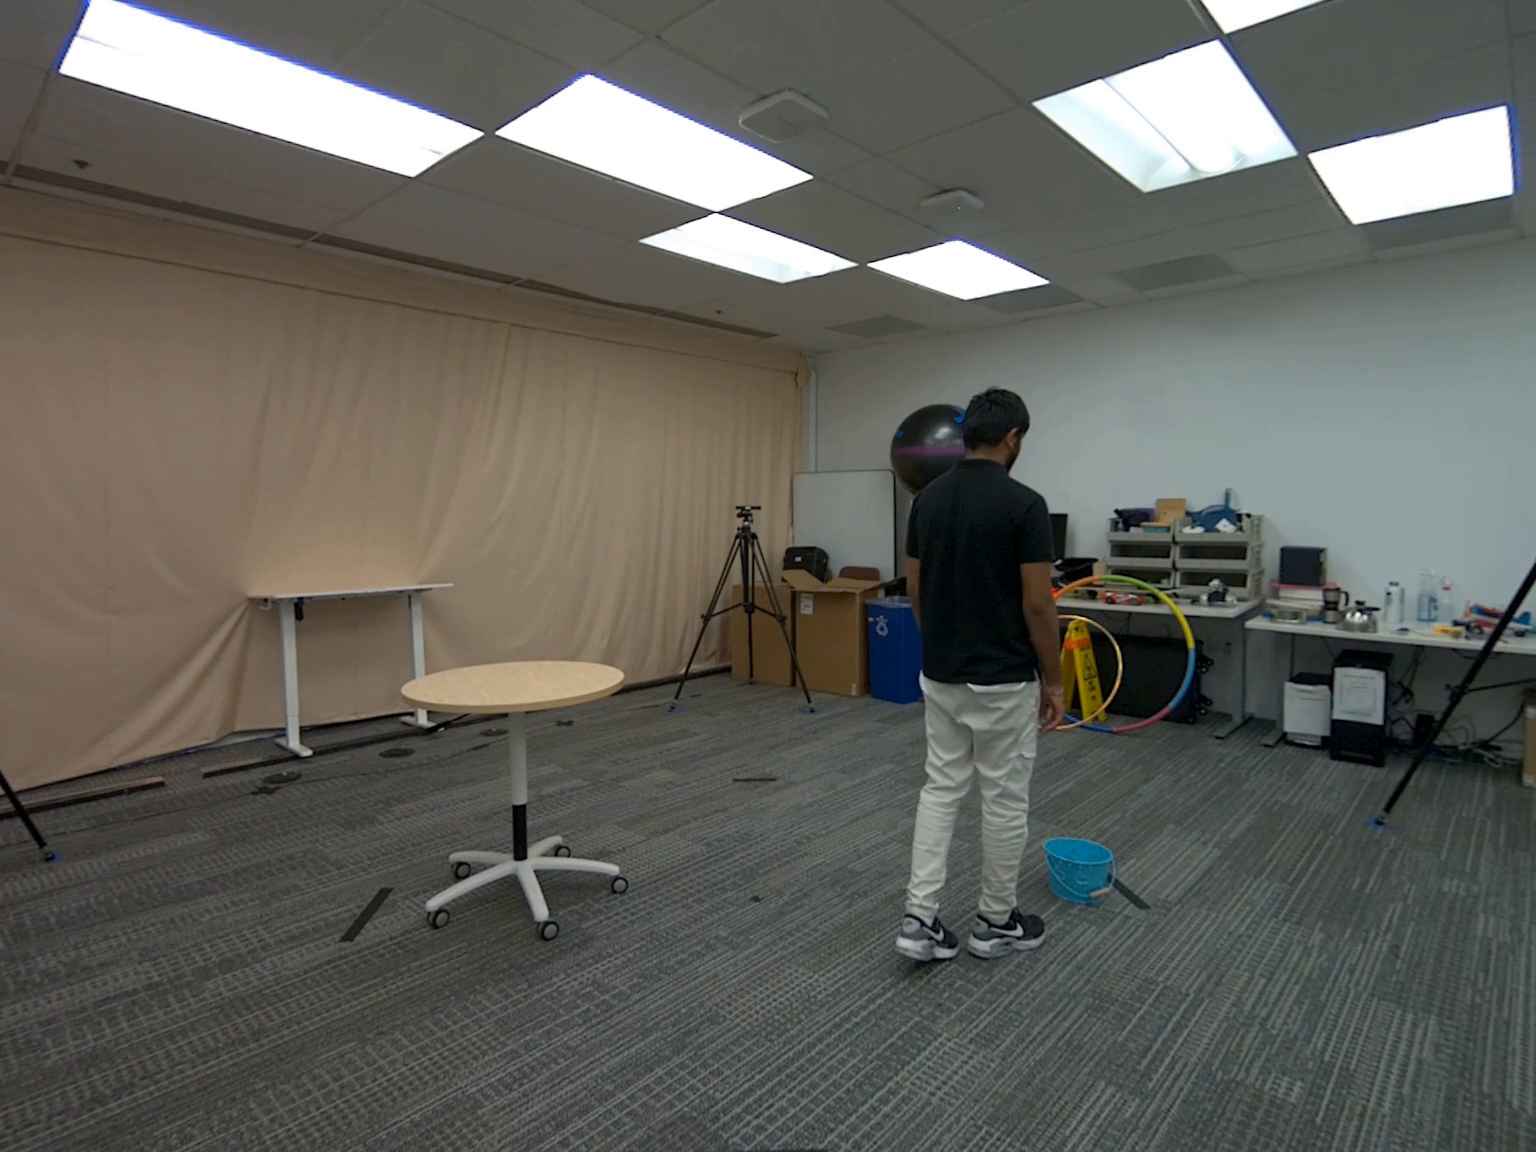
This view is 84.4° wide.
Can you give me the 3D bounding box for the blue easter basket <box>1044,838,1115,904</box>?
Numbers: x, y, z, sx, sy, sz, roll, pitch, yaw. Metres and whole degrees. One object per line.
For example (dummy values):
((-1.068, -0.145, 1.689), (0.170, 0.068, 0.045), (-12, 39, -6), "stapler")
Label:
((1.120, 1.066, 3.023), (0.243, 0.155, 0.244), (-1, 3, -2), "blue easter basket")
